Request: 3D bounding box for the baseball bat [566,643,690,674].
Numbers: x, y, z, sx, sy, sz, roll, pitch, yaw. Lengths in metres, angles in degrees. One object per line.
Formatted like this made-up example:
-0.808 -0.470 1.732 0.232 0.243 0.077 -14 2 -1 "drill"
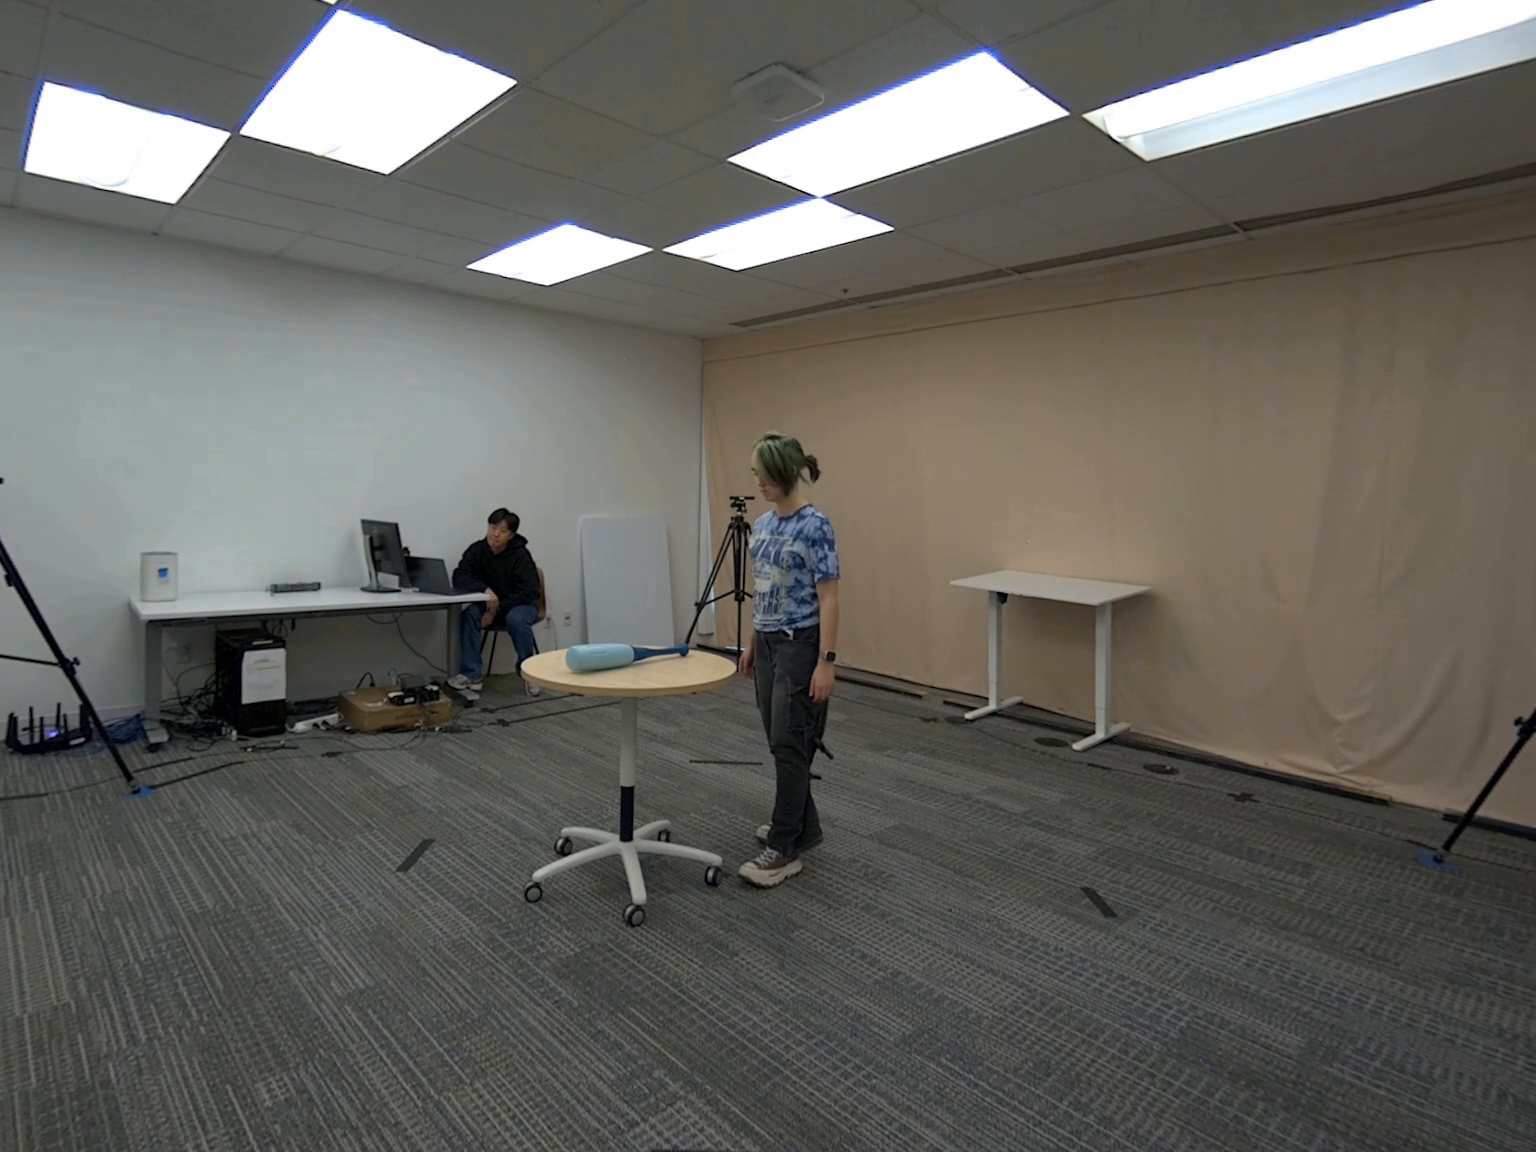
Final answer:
-0.496 0.285 3.025 0.091 0.089 0.530 5 3 40 "baseball bat"
